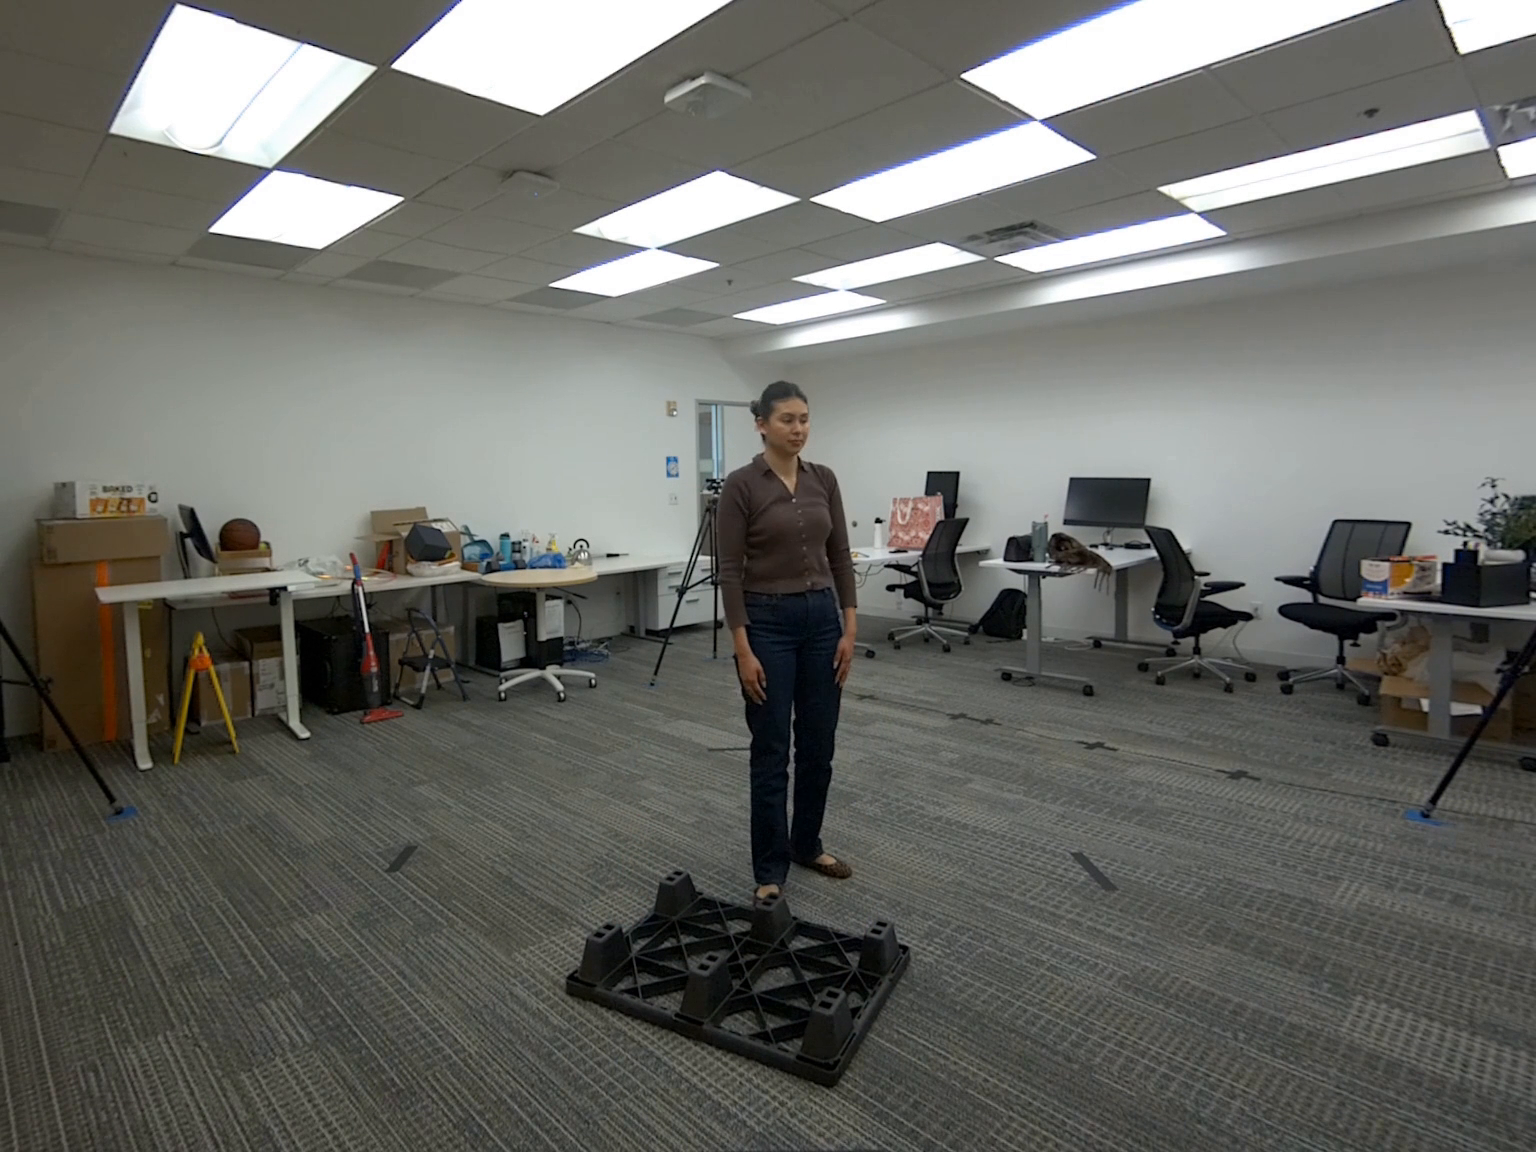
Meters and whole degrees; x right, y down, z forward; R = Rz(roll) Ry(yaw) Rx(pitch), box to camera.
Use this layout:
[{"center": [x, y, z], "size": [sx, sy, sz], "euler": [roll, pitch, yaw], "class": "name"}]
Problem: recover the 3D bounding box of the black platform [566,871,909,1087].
[{"center": [-0.073, 1.061, 2.401], "size": [0.826, 0.143, 0.593], "euler": [2, 7, 28], "class": "black platform"}]
